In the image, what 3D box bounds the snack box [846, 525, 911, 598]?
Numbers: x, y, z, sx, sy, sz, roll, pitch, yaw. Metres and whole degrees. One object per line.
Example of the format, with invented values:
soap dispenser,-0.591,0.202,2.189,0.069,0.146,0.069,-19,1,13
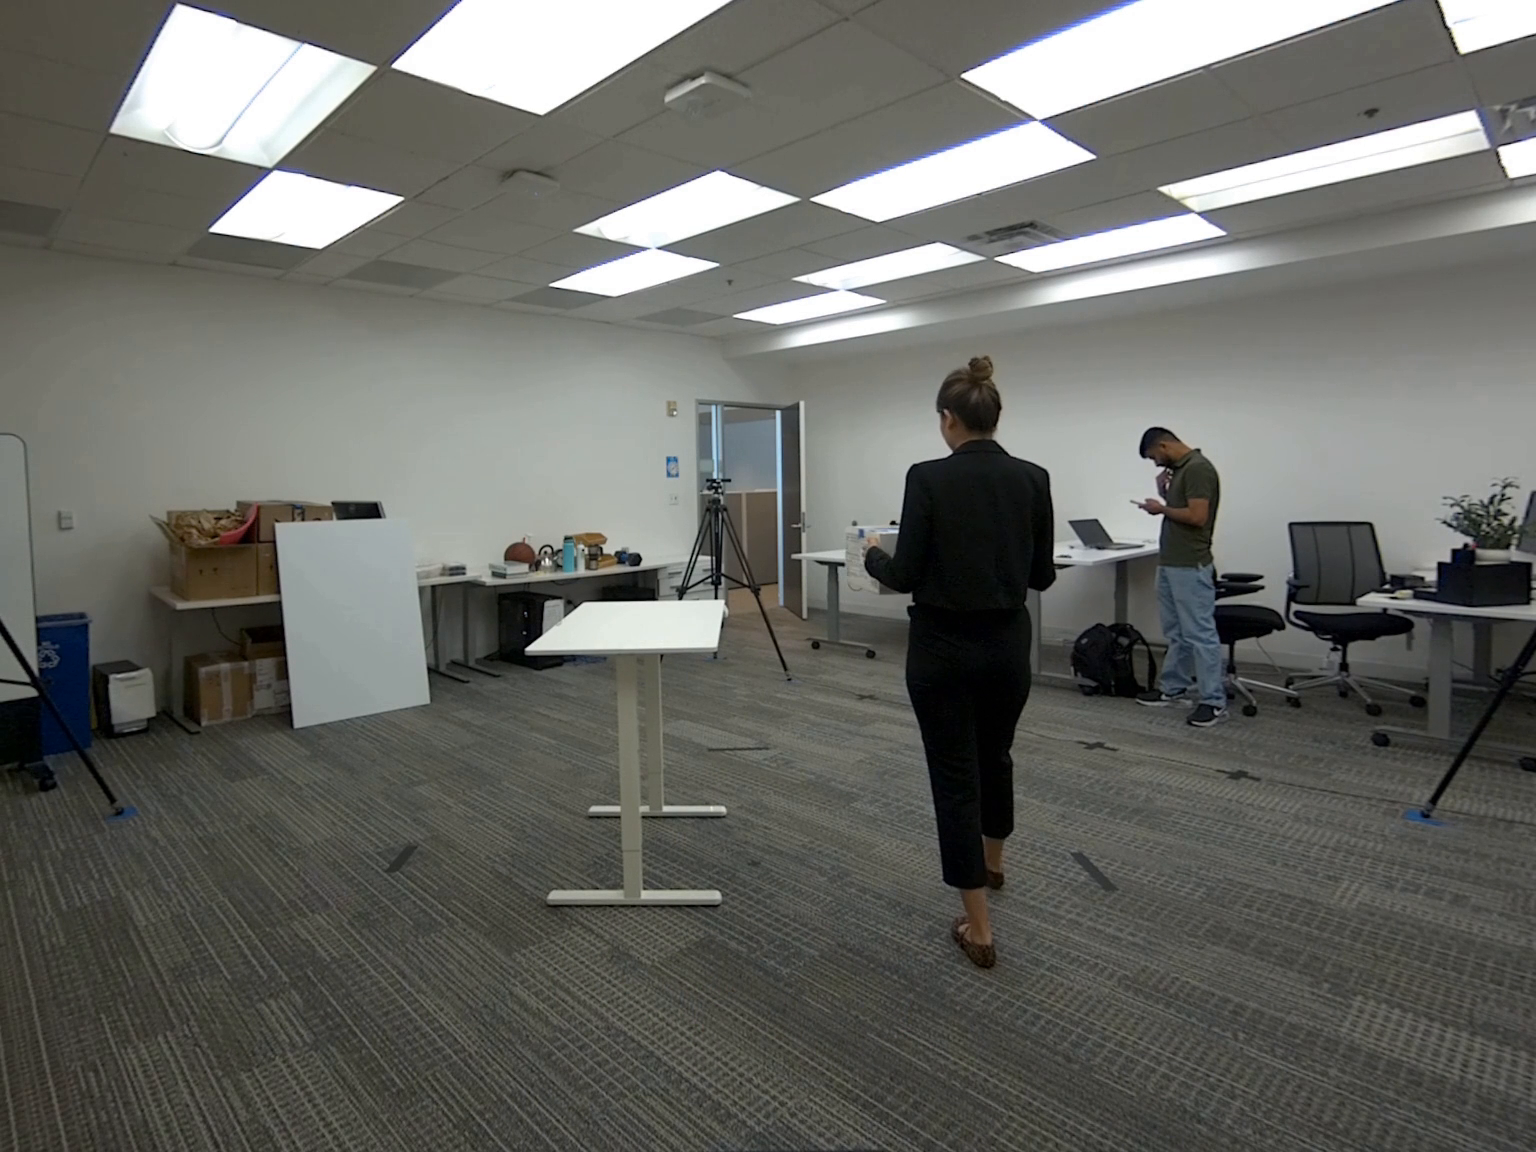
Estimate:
snack box,0.515,-0.064,2.928,0.401,0.205,0.345,-2,6,-11
